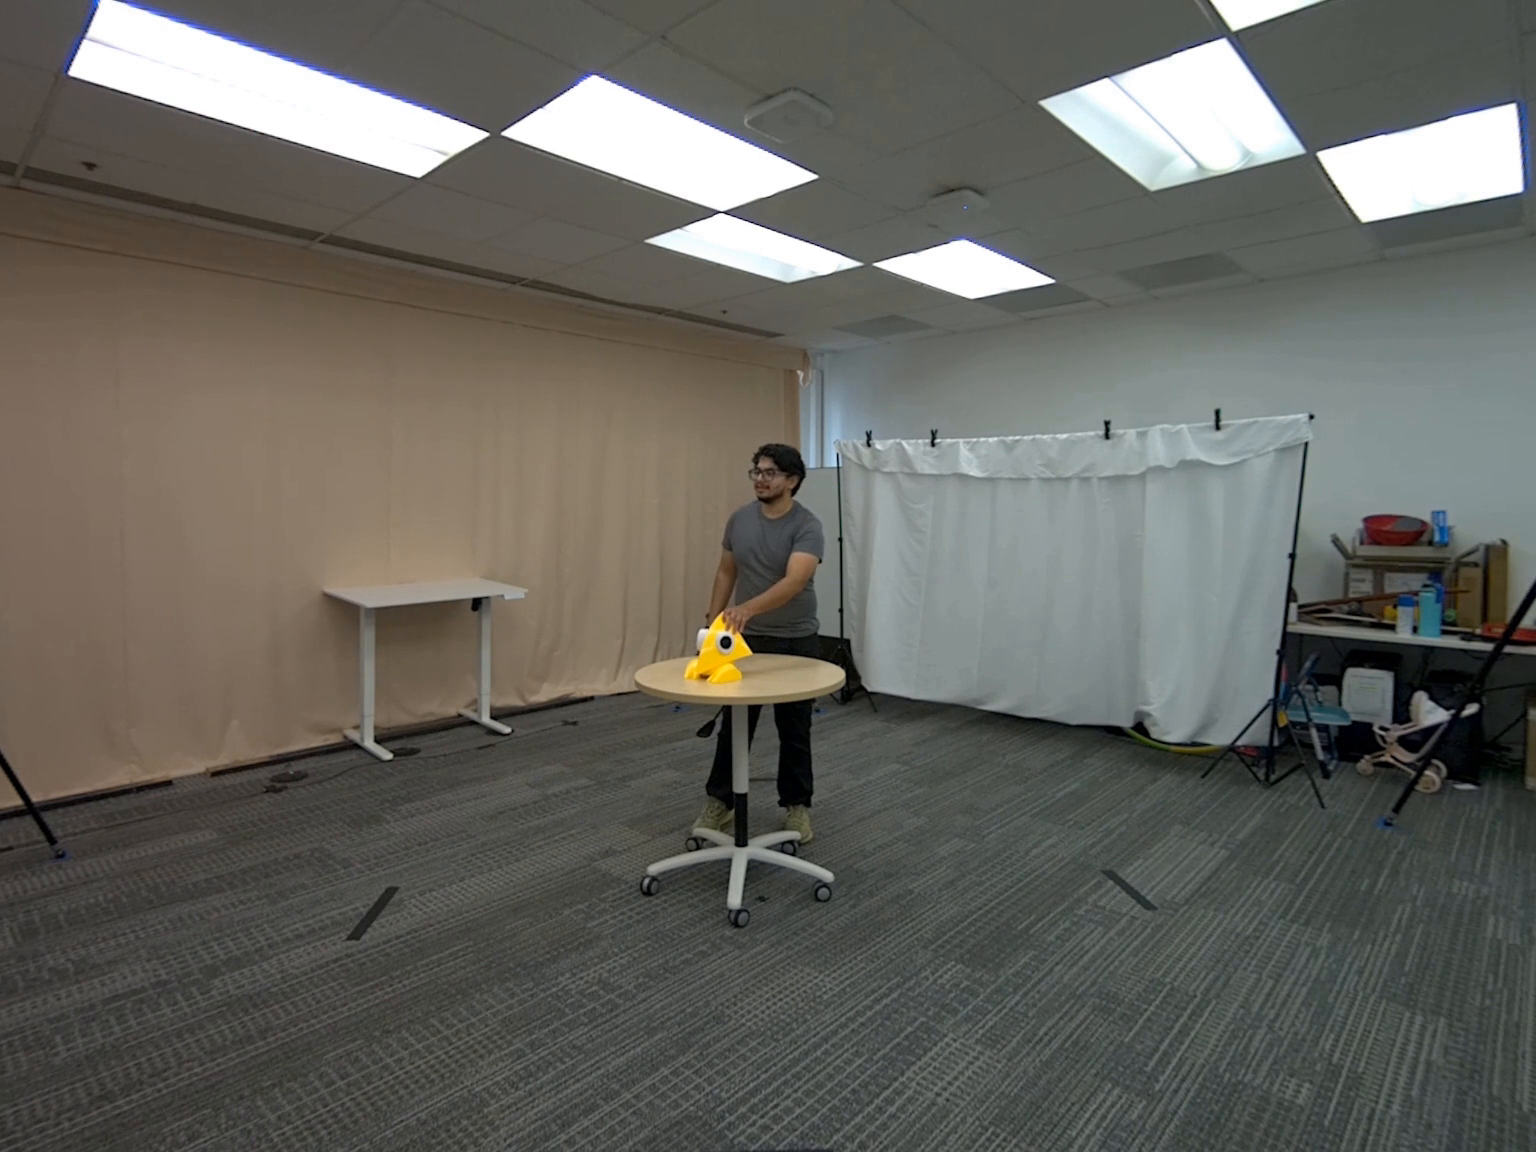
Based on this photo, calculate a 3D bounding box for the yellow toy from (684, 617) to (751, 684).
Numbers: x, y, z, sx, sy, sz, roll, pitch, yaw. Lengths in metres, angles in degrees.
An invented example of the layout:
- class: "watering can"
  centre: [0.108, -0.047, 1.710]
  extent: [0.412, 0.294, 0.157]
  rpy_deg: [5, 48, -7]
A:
- class: "yellow toy"
  centre: [-0.186, 0.244, 3.009]
  extent: [0.211, 0.230, 0.187]
  rpy_deg: [3, 5, 38]
